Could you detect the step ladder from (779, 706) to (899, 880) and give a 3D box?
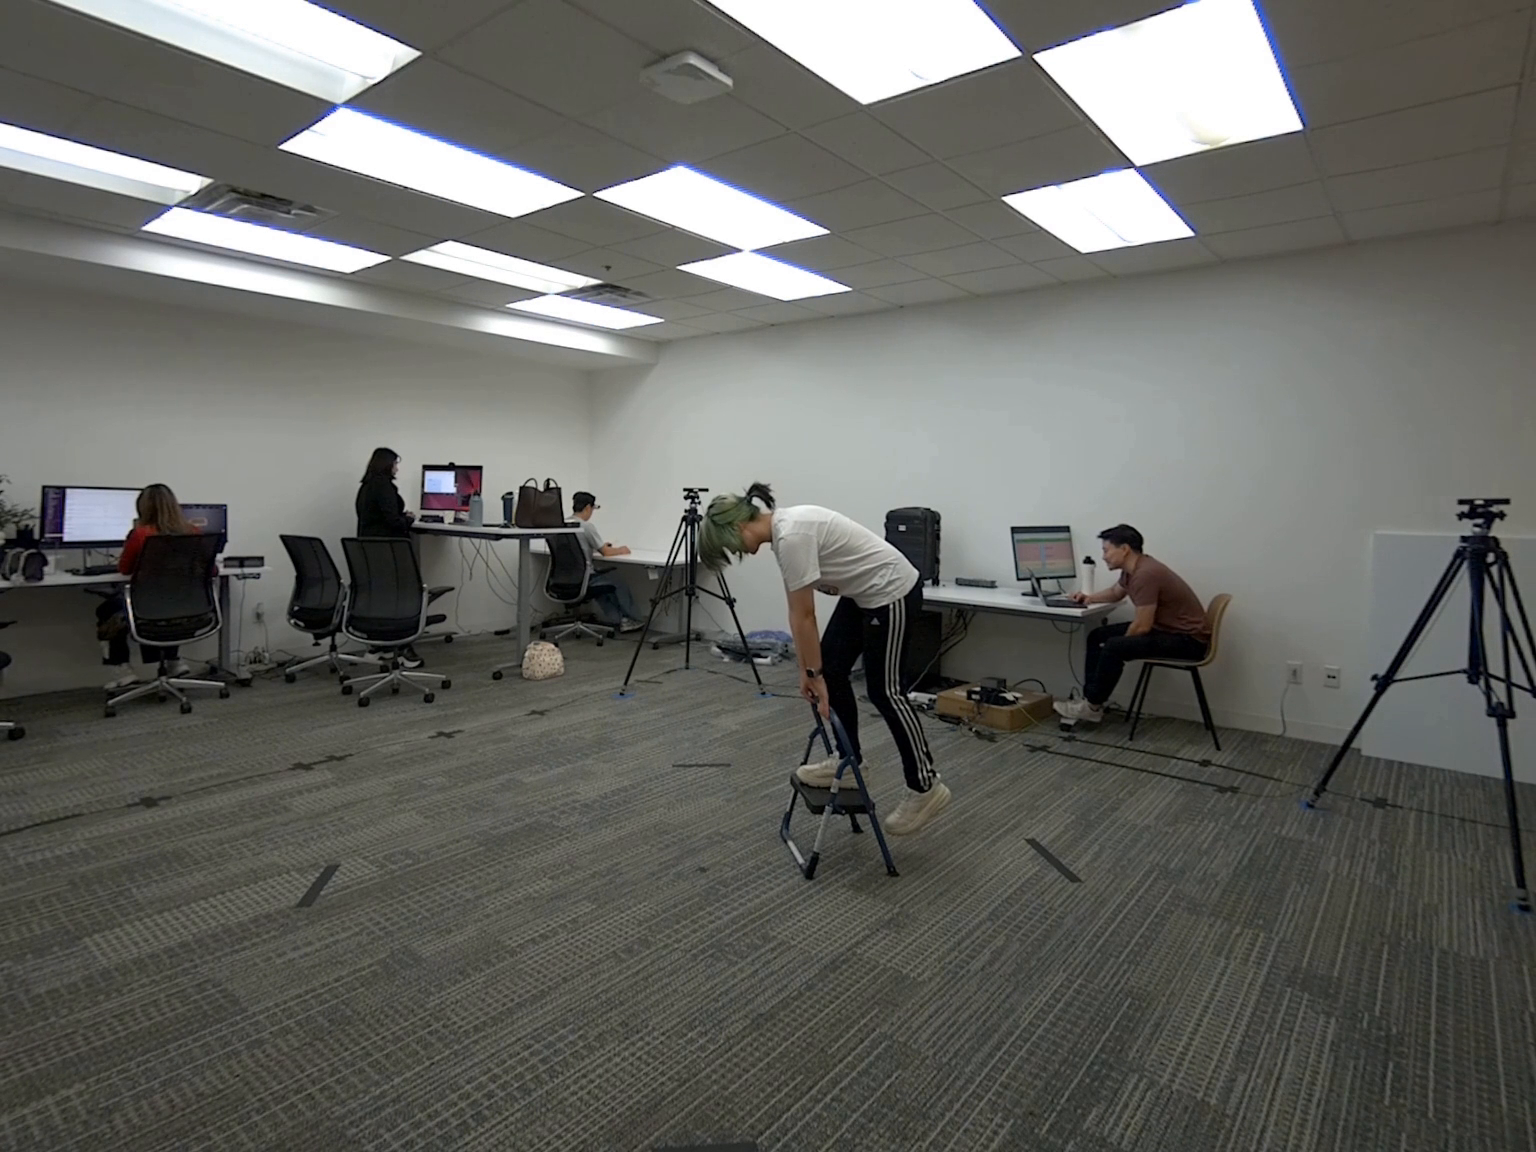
[{"bbox_3d":[0.260,0.768,3.254,0.345,0.604,0.437,1,4,-12],"label":"step ladder"}]
